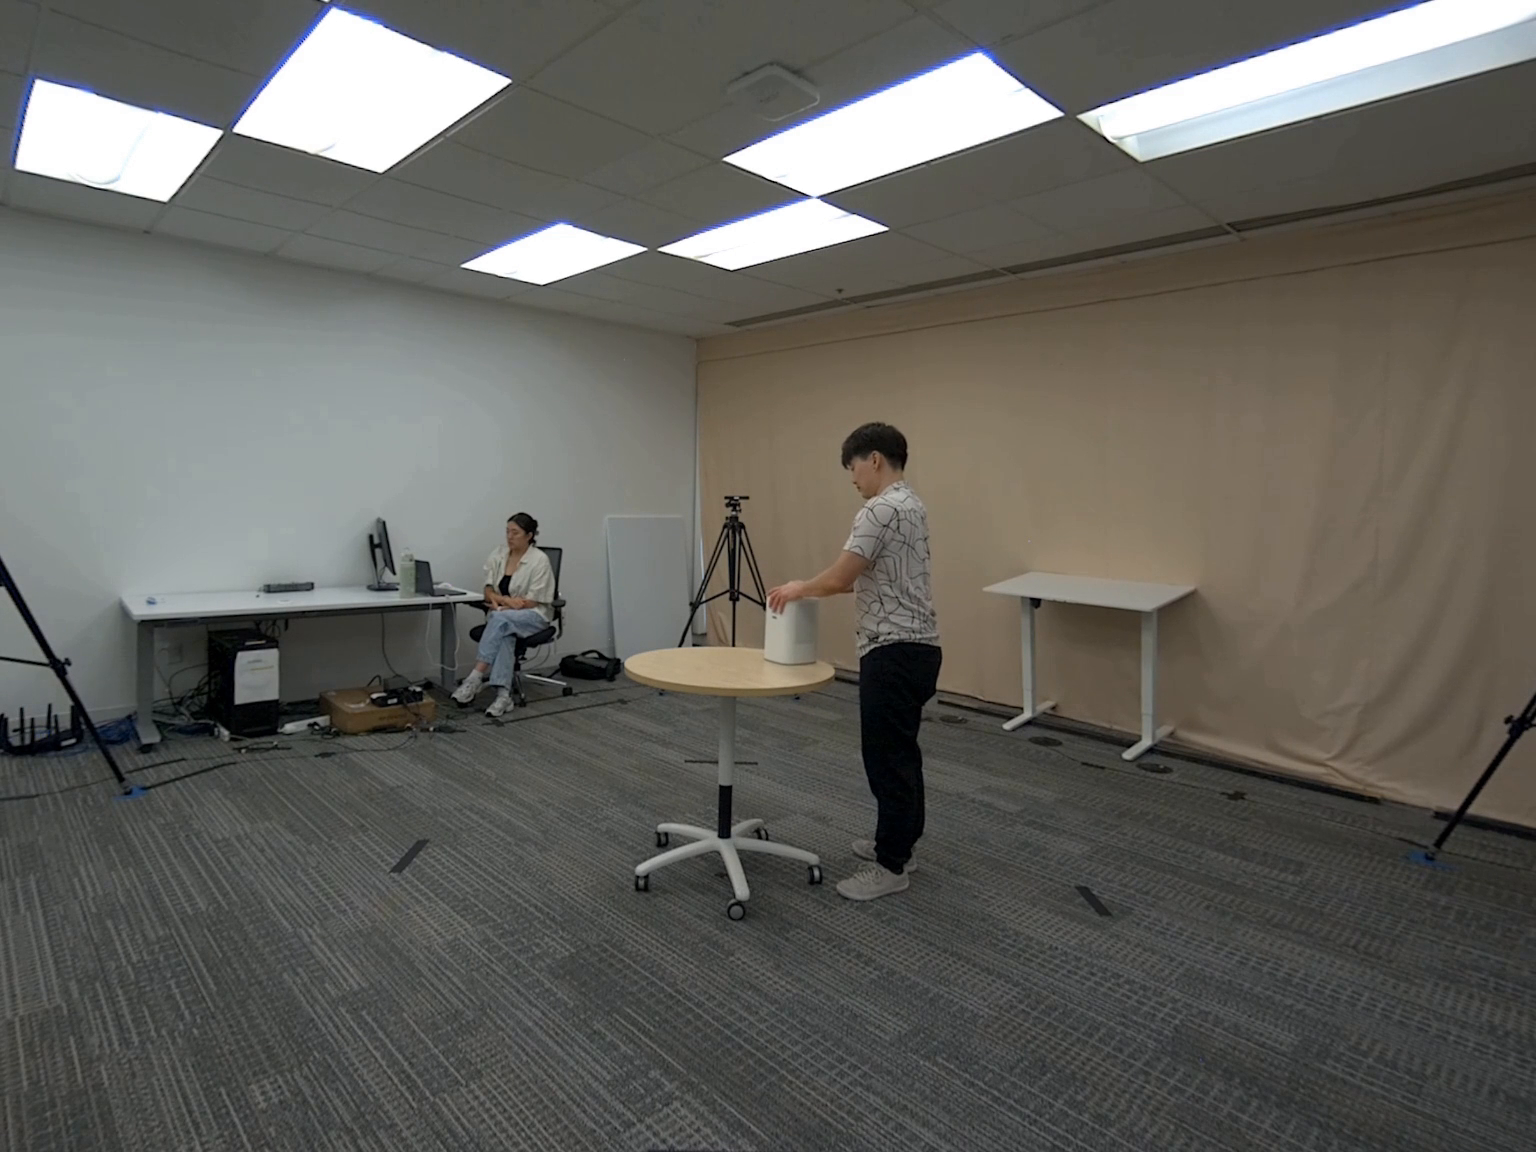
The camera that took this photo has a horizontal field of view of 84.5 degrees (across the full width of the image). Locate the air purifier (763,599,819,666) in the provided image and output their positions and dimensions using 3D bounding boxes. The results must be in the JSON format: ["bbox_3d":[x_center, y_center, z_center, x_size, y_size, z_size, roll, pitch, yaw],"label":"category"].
[{"bbox_3d":[0.087,0.189,3.200,0.168,0.265,0.175,1,3,-35],"label":"air purifier"}]
